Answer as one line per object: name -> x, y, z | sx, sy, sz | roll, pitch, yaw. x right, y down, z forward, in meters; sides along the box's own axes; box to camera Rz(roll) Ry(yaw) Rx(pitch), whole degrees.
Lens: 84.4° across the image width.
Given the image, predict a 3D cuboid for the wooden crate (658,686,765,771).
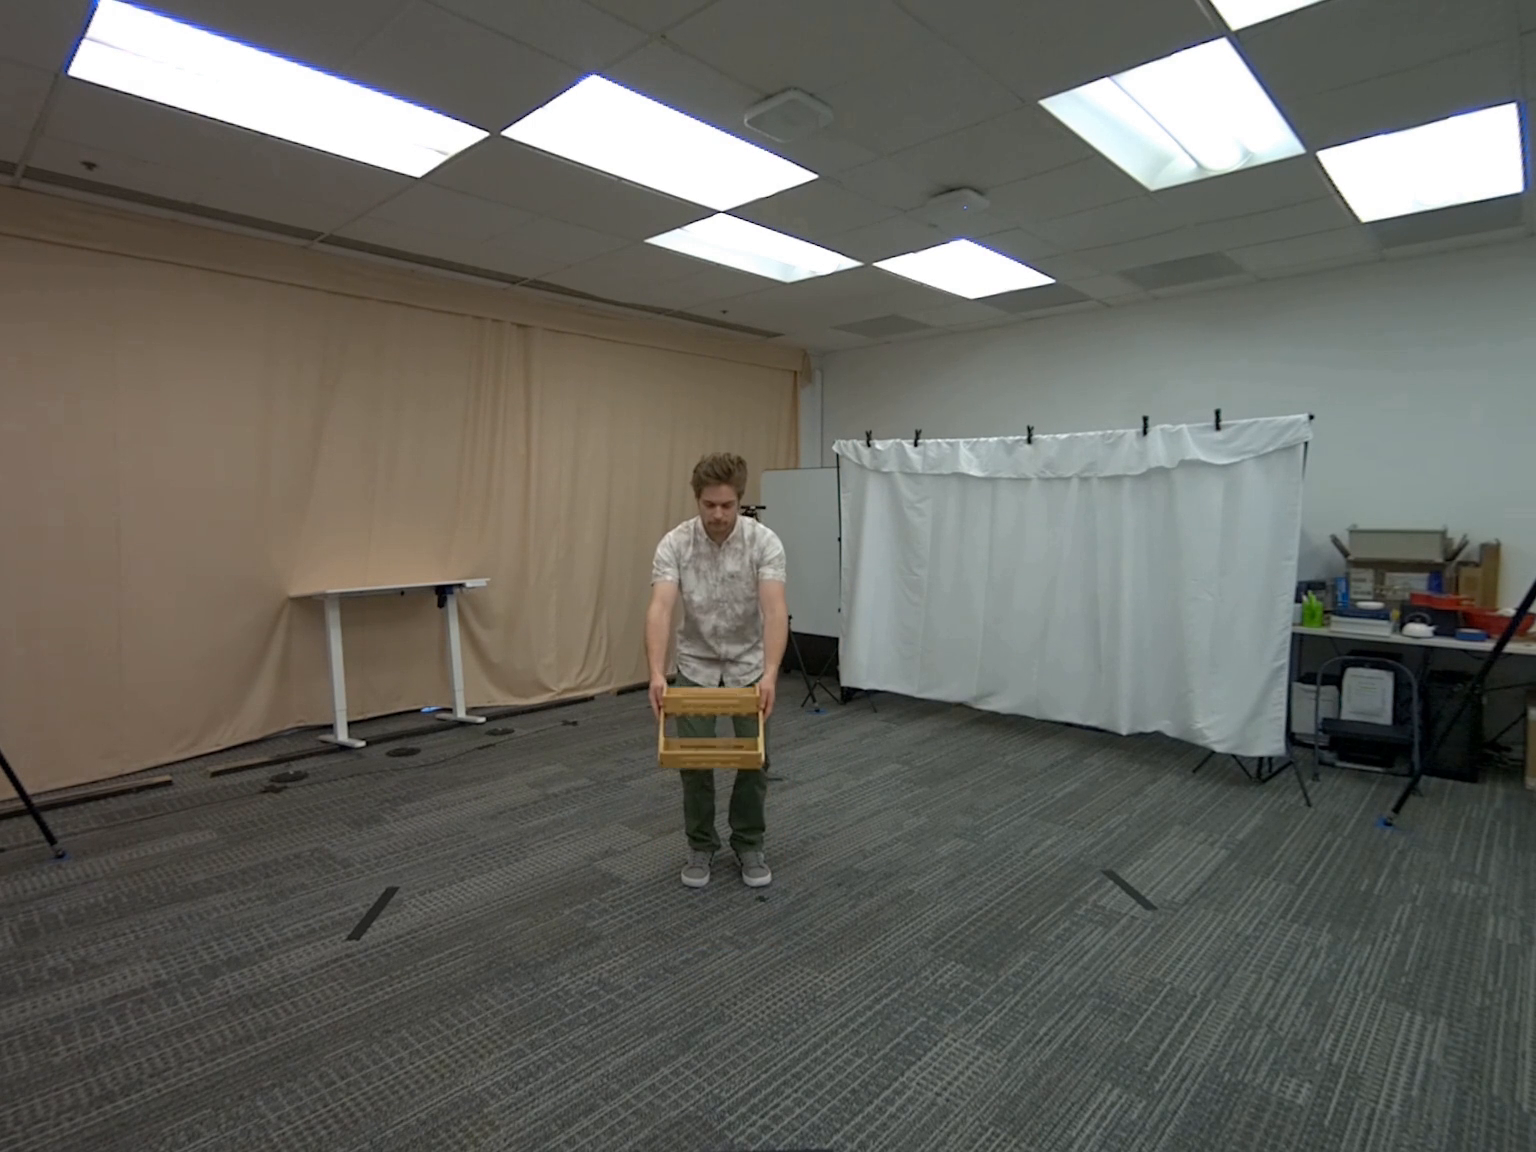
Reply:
wooden crate -> -0.180, 0.460, 2.646 | 0.324, 0.276, 0.299 | 1, -14, -1
